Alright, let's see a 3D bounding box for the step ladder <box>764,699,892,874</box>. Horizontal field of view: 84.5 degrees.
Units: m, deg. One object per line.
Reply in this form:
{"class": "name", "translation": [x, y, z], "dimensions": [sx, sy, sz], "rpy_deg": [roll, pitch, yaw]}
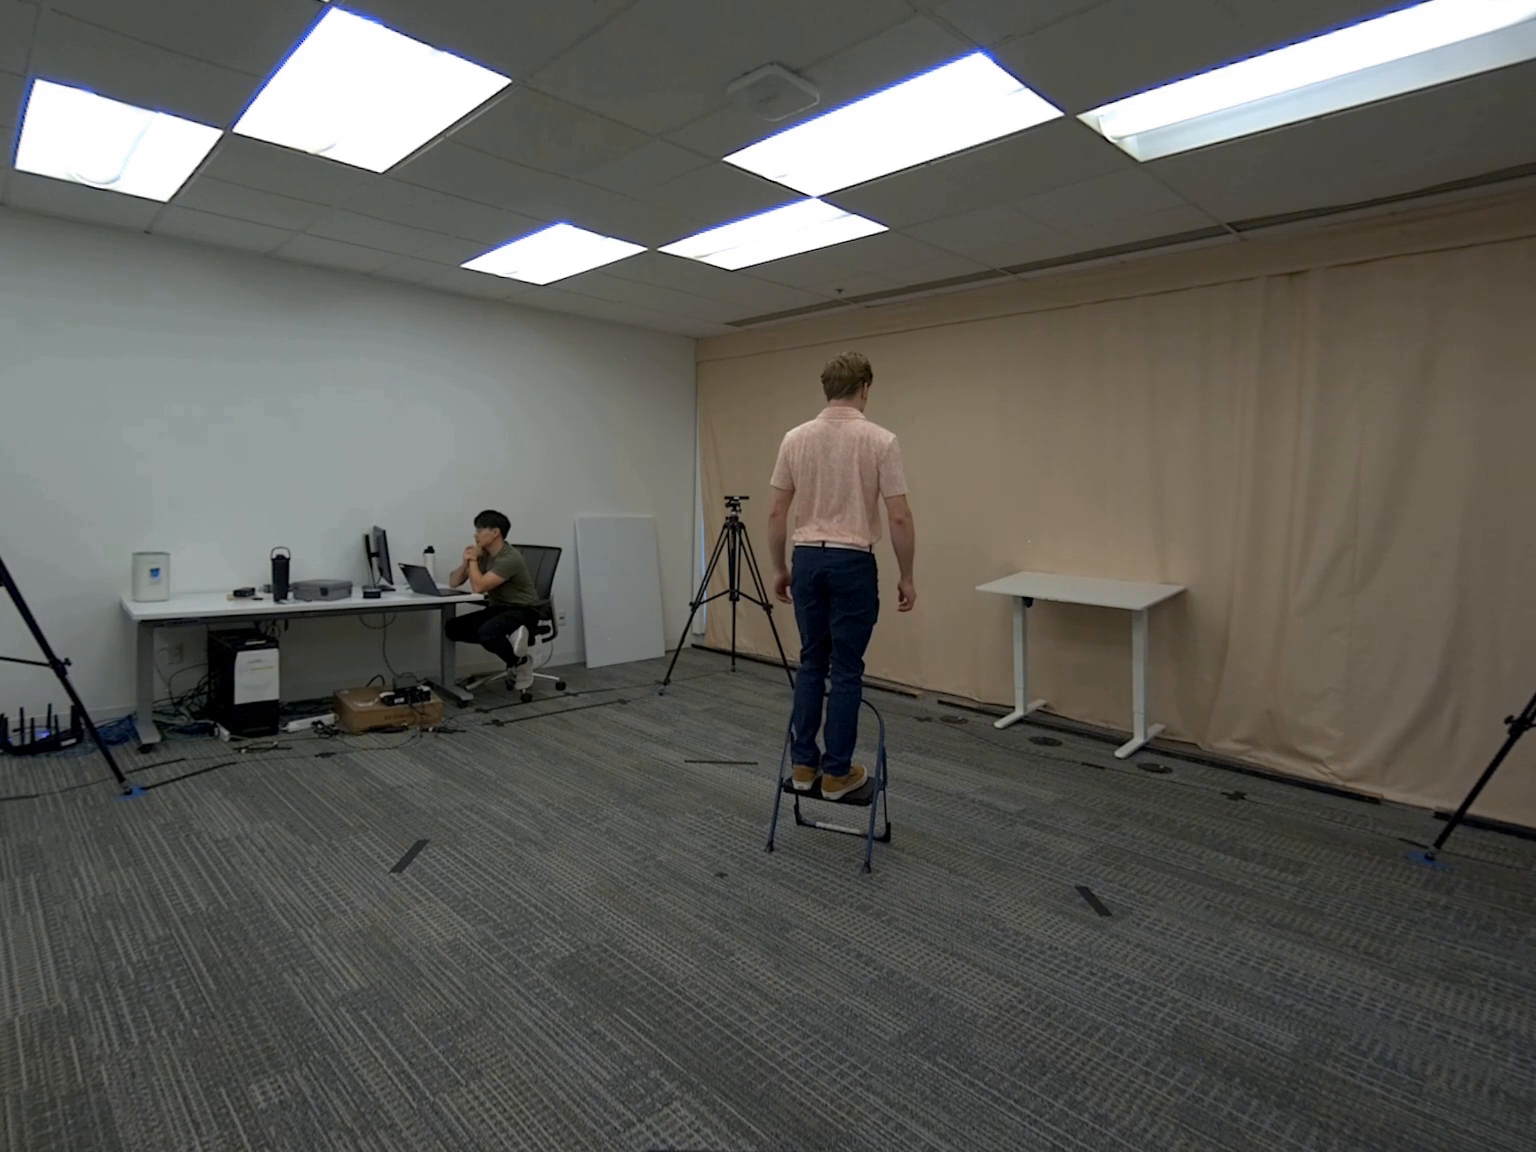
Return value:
{"class": "step ladder", "translation": [0.255, 0.788, 3.382], "dimensions": [0.439, 0.605, 0.343], "rpy_deg": [3, 3, 24]}
